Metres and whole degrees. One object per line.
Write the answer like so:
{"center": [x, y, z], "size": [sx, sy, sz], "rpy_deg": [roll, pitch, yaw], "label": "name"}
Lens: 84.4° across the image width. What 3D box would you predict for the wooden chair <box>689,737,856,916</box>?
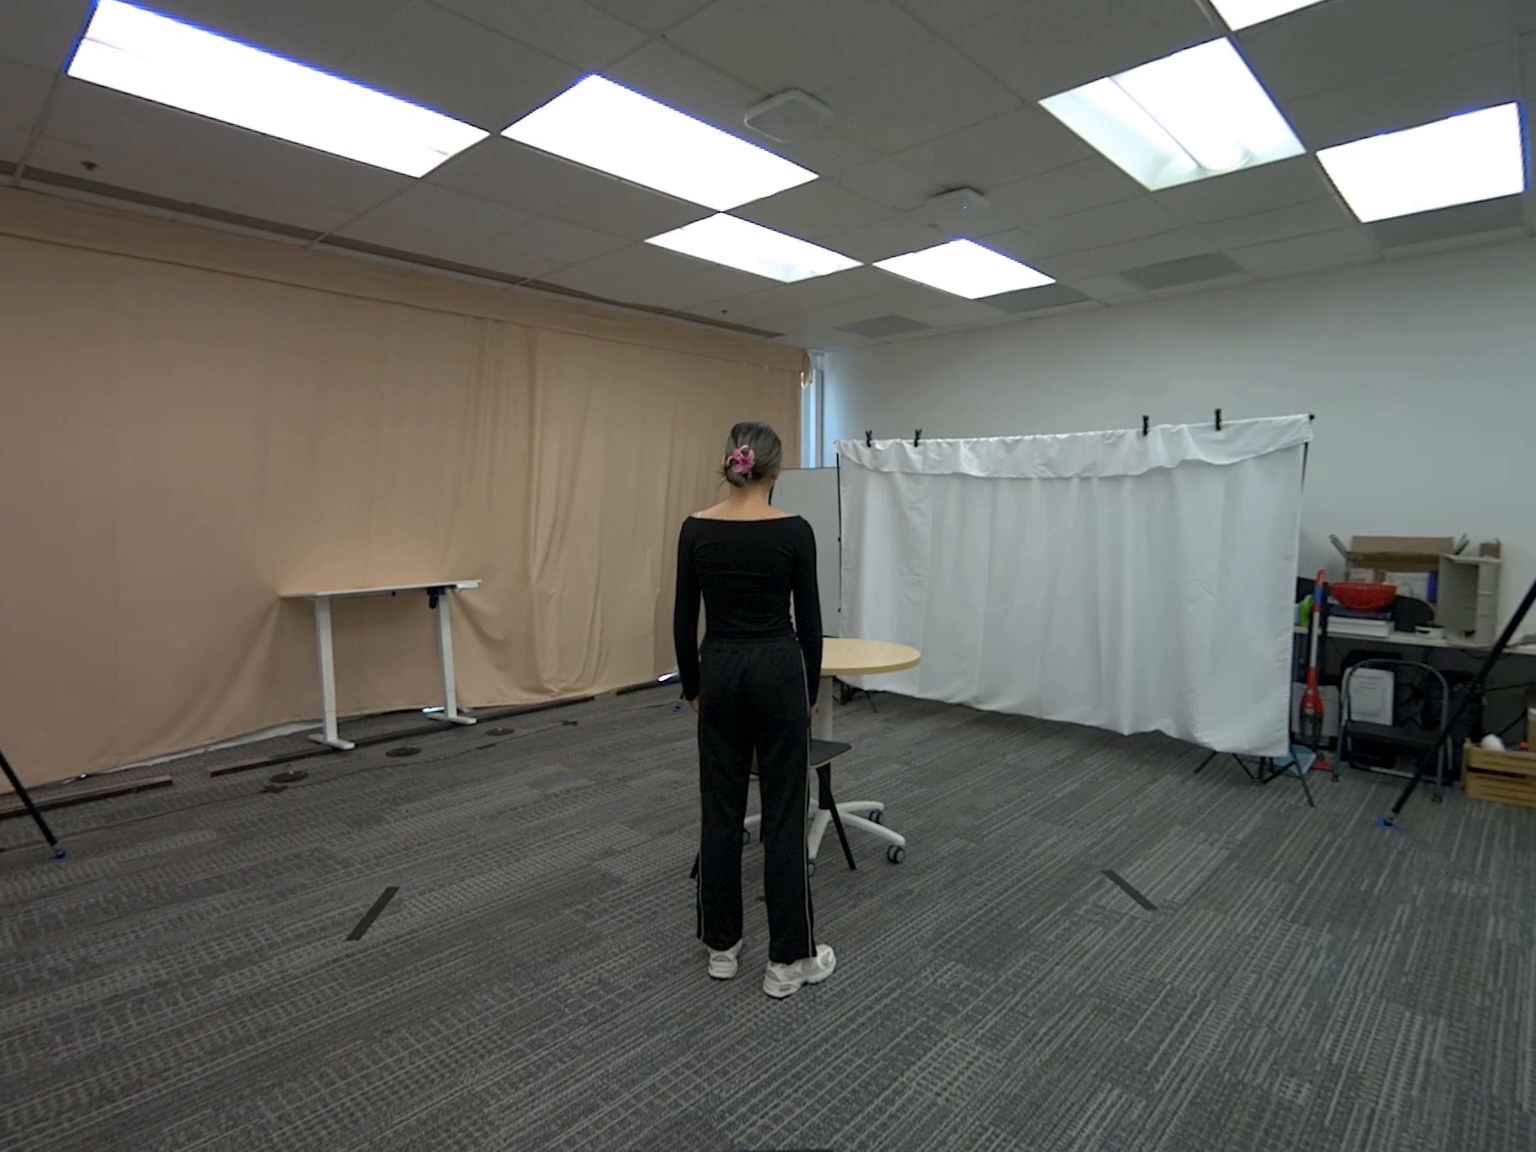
{"center": [0.022, 0.699, 3.161], "size": [0.493, 0.873, 0.509], "rpy_deg": [1, 8, 38], "label": "wooden chair"}
